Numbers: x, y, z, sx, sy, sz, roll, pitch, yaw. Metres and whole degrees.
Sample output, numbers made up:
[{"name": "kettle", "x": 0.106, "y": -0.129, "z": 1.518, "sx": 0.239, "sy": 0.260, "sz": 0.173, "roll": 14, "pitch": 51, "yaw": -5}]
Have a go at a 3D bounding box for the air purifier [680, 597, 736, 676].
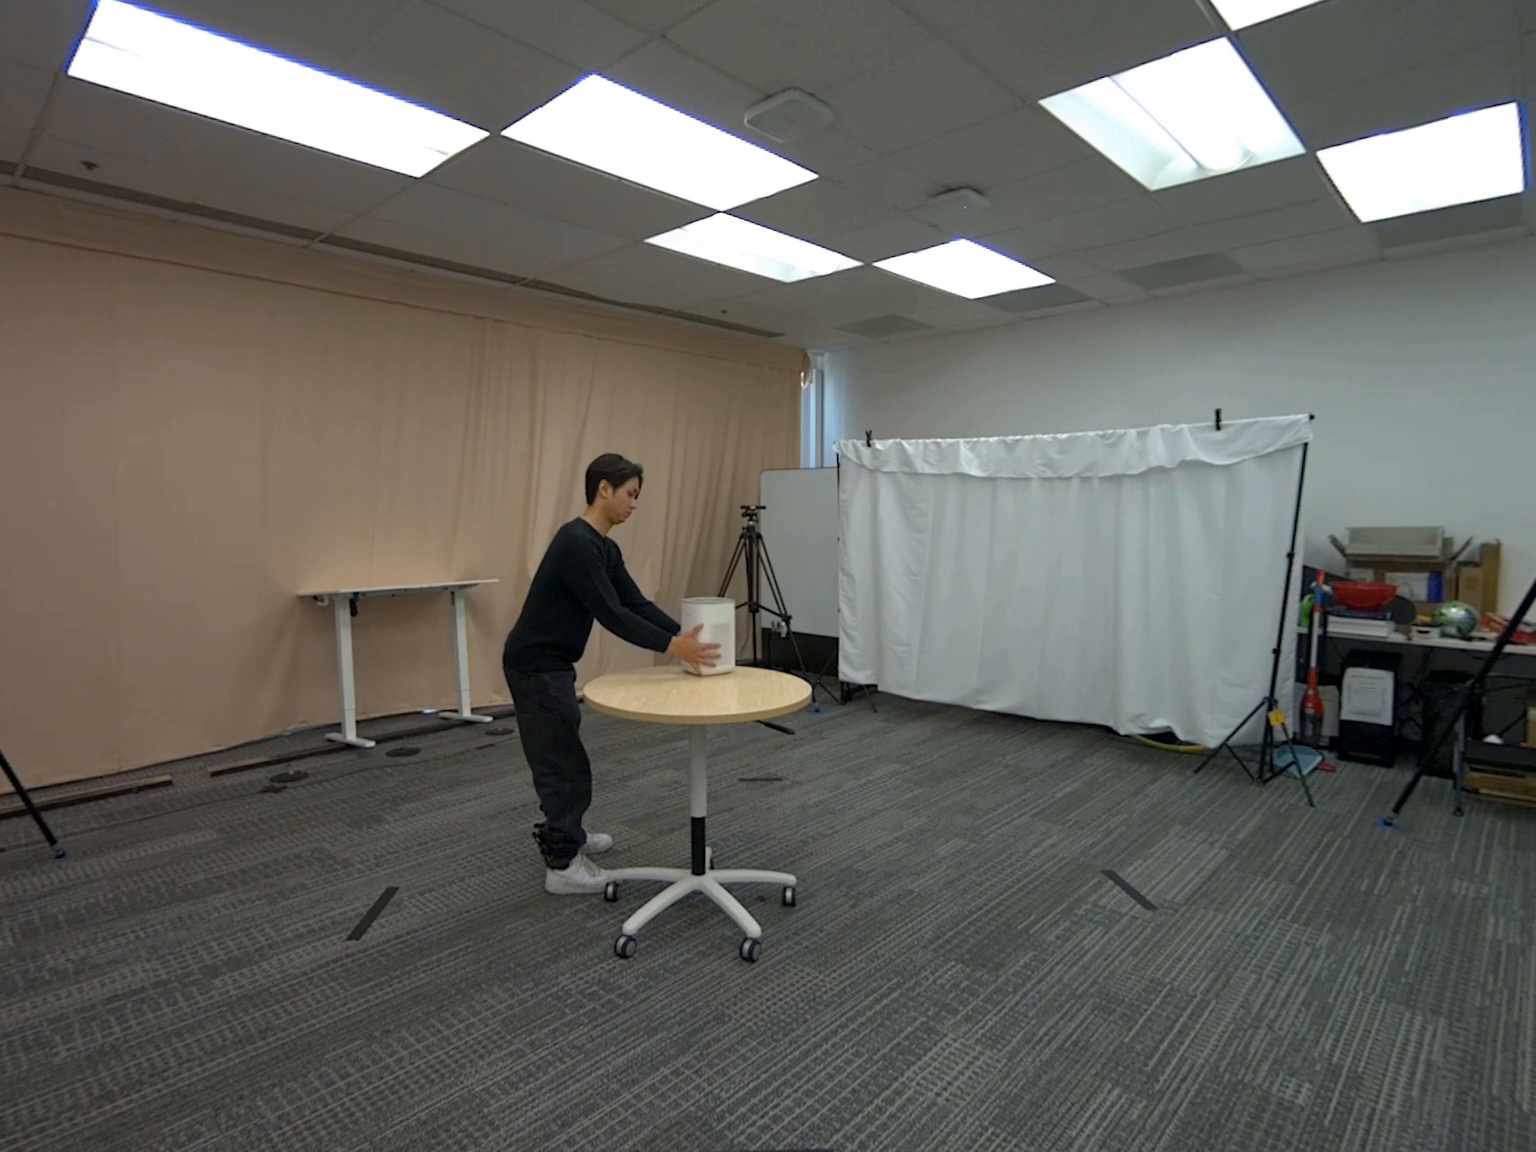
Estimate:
[{"name": "air purifier", "x": -0.220, "y": 0.220, "z": 3.069, "sx": 0.166, "sy": 0.265, "sz": 0.176, "roll": -3, "pitch": 5, "yaw": -38}]
